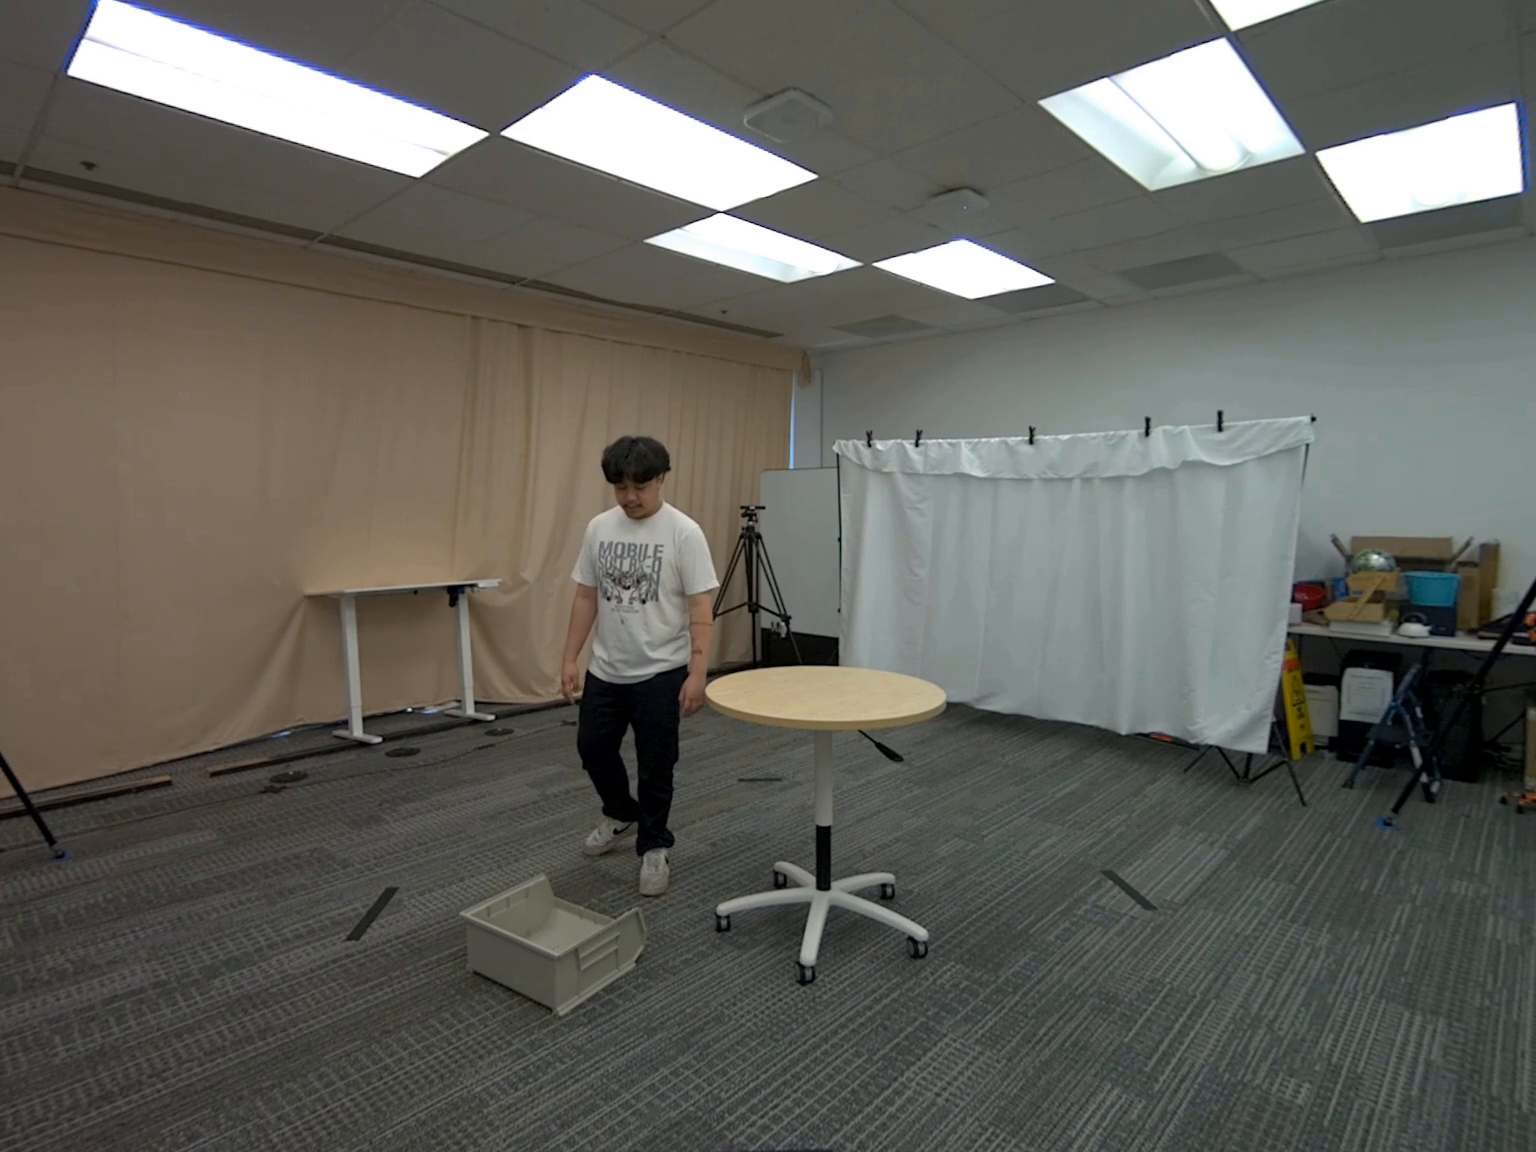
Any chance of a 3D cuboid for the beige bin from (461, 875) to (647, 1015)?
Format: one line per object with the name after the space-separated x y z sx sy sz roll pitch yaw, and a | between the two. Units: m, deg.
-0.645 1.092 2.555 0.435 0.188 0.367 3 6 33 | beige bin
